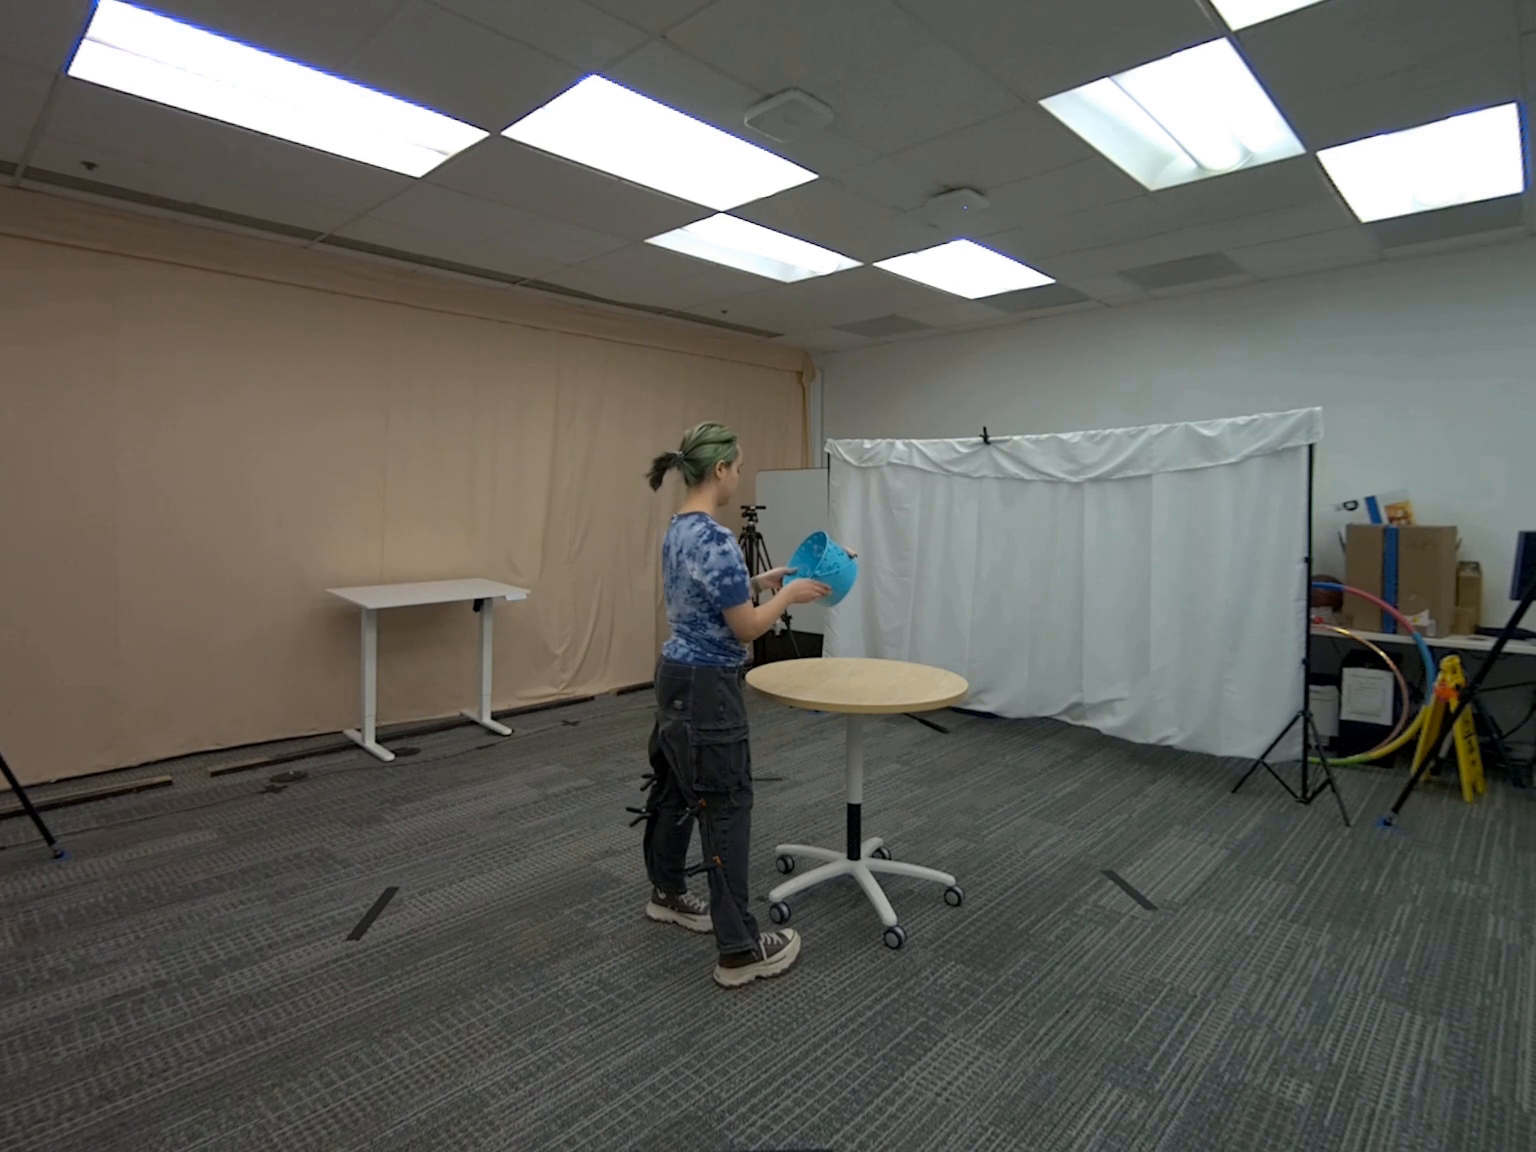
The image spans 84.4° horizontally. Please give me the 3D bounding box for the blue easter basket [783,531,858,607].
[{"bbox_3d":[0.190,-0.011,2.781,0.152,0.243,0.249,31,-7,-20],"label":"blue easter basket"}]
